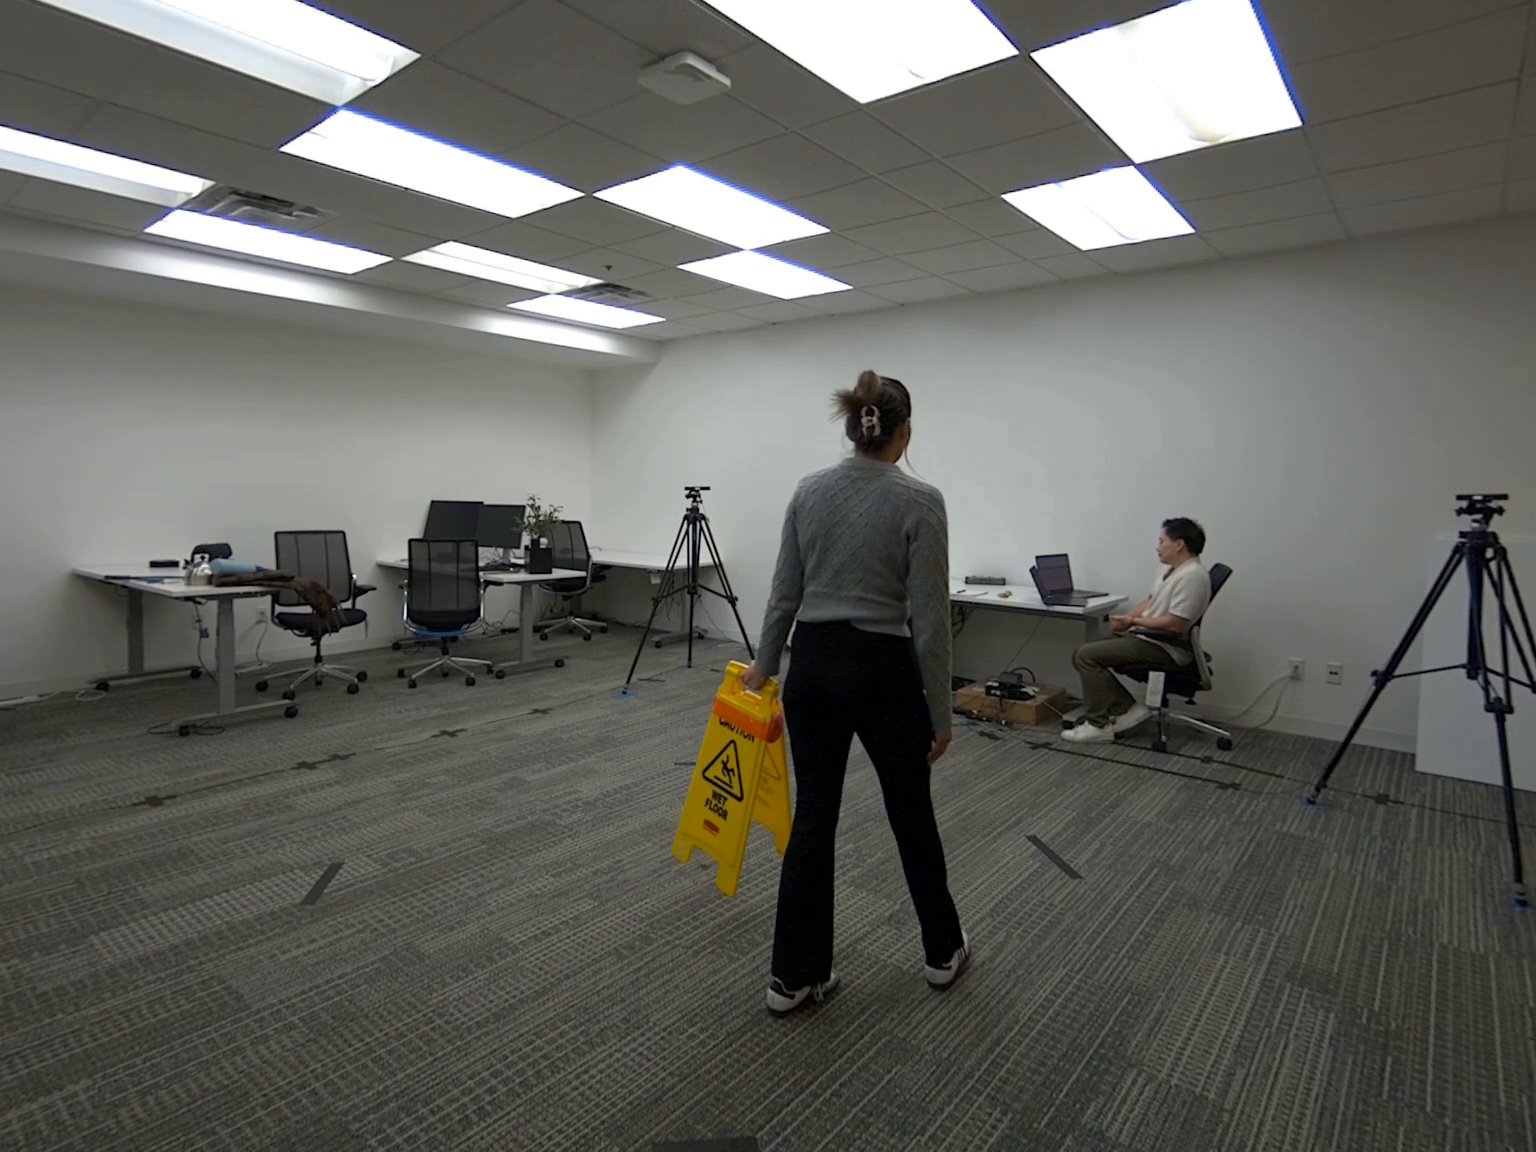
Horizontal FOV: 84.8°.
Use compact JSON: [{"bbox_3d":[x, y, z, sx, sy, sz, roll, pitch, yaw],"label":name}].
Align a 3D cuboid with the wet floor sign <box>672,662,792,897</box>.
[{"bbox_3d":[-0.087,0.589,2.638,0.293,0.638,0.282,18,18,39],"label":"wet floor sign"}]
